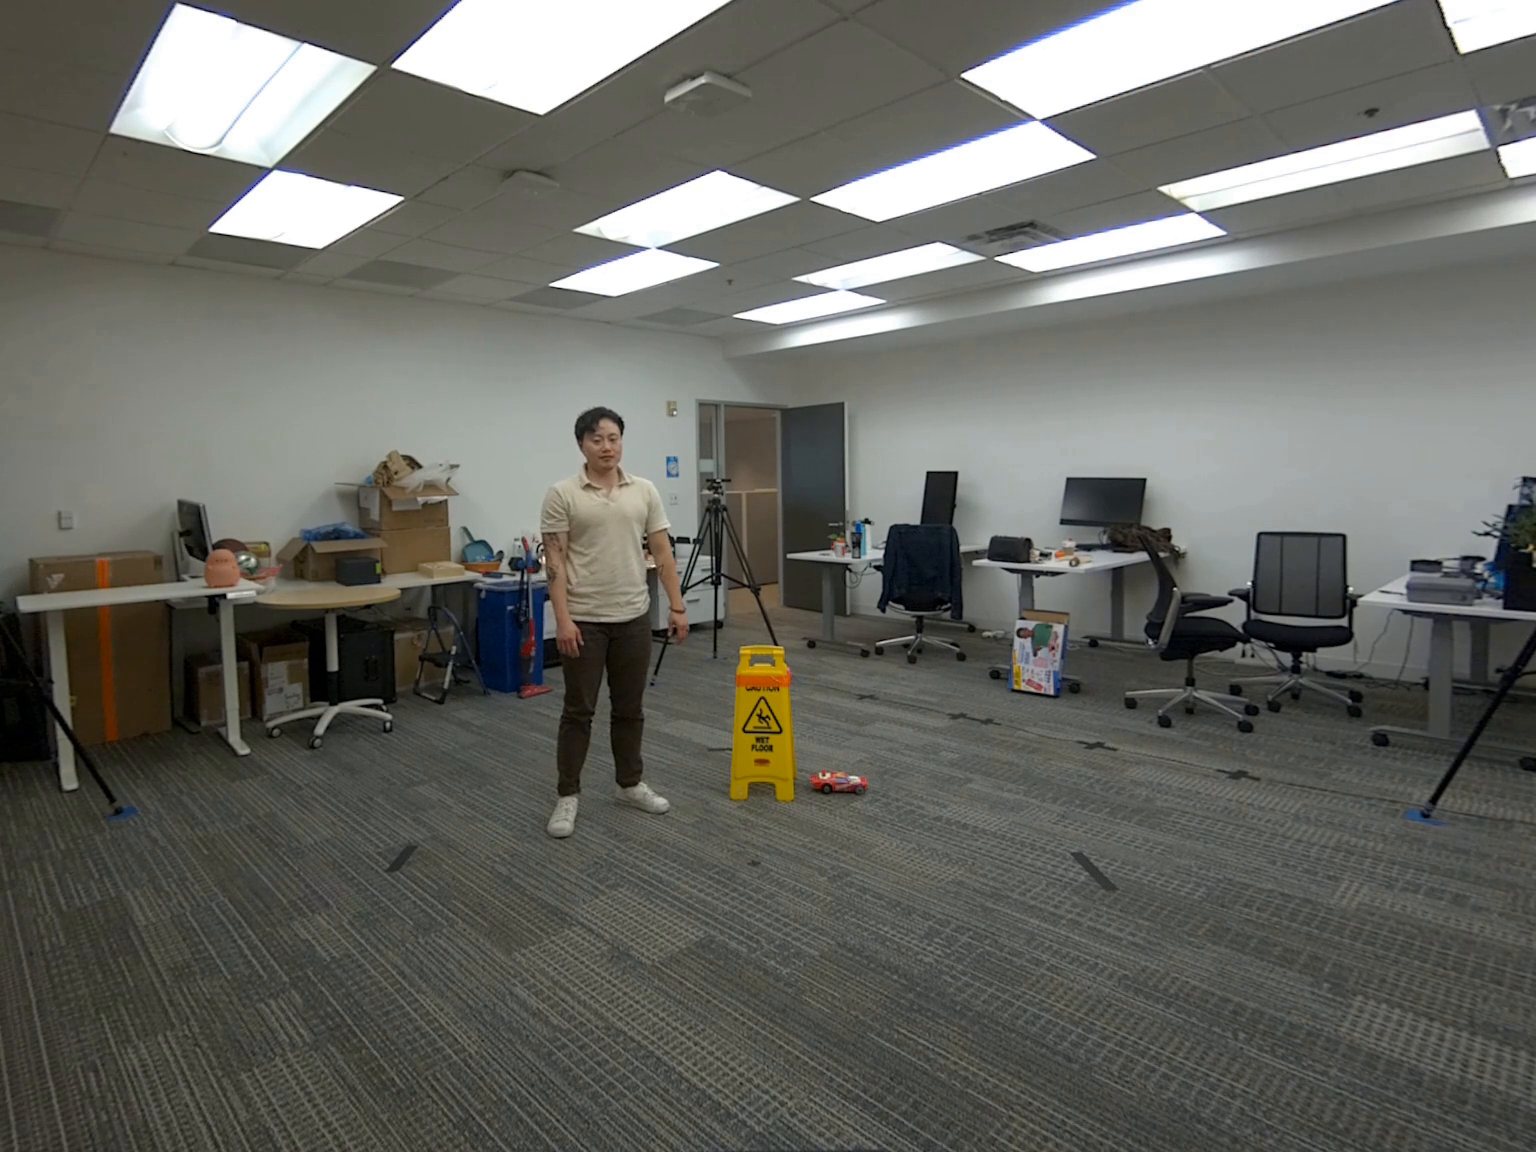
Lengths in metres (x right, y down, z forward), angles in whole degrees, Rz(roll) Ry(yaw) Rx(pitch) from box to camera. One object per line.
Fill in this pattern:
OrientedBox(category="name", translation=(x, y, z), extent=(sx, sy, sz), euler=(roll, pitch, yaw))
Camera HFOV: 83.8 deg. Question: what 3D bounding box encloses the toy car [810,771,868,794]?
OrientedBox(category="toy car", translation=(0.308, 0.918, 3.813), extent=(0.256, 0.083, 0.130), euler=(10, 7, 4))
